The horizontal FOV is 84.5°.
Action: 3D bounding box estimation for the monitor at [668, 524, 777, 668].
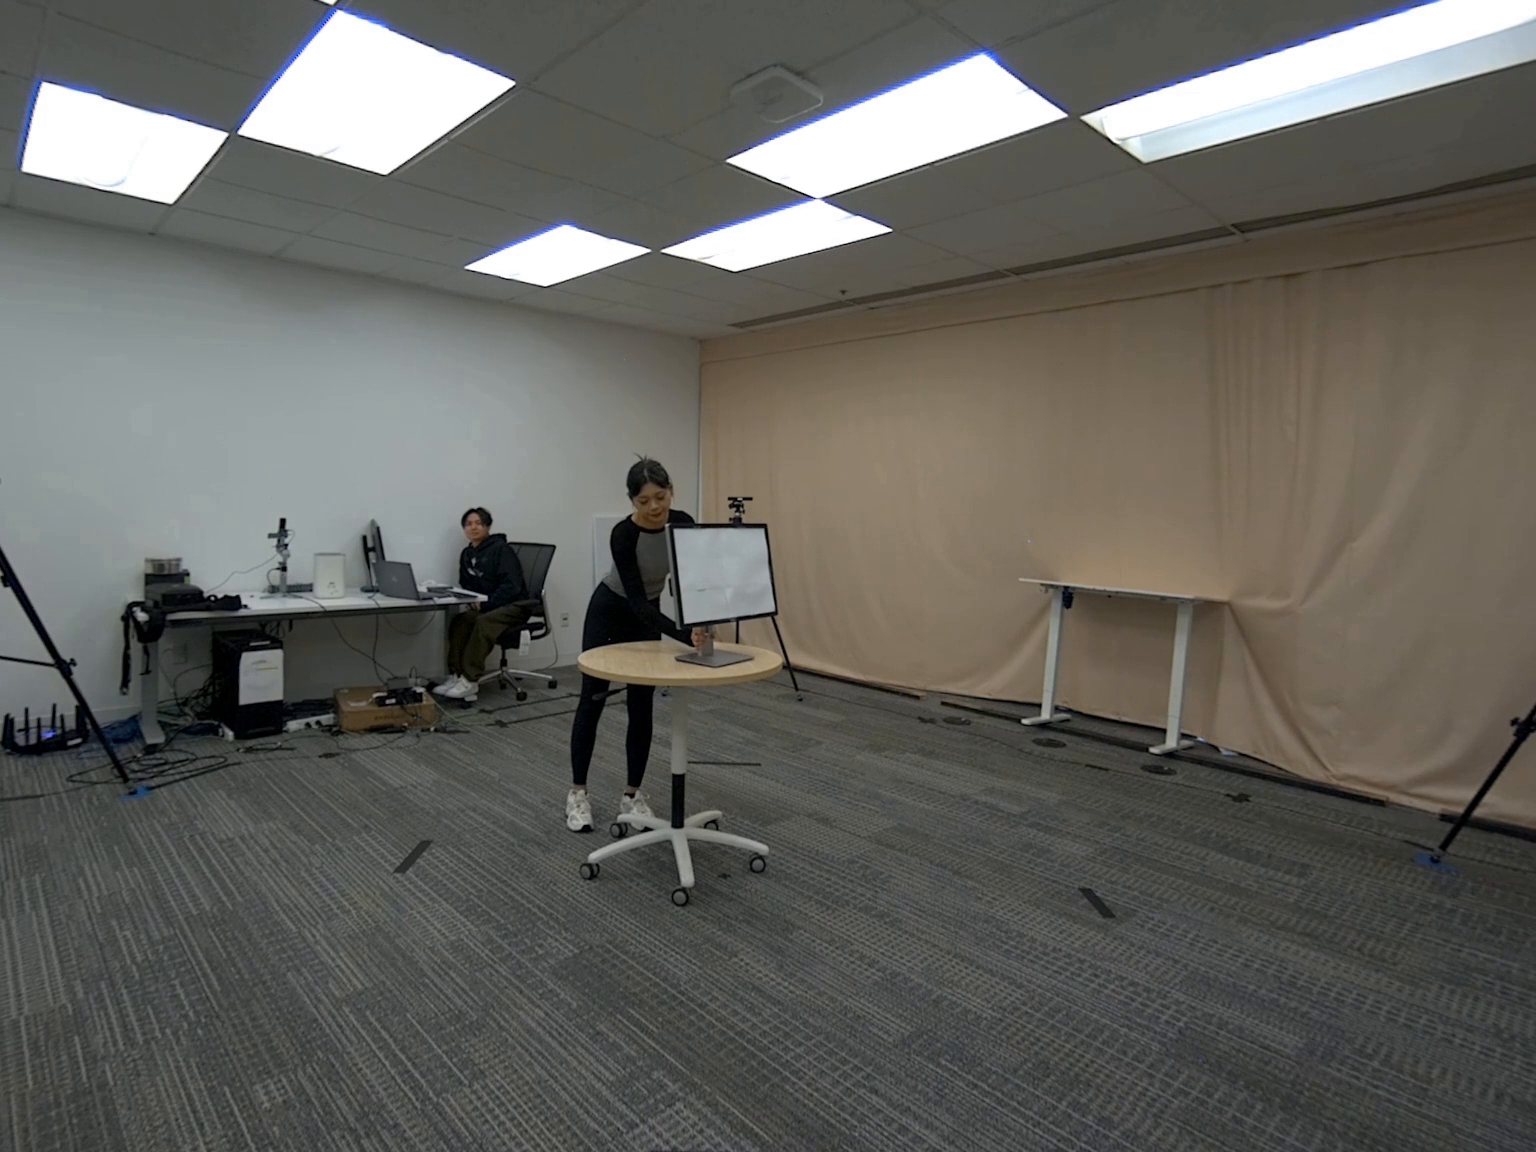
[{"bbox_3d":[-0.201,0.068,3.118,0.192,0.520,0.527,9,7,36],"label":"monitor"}]
